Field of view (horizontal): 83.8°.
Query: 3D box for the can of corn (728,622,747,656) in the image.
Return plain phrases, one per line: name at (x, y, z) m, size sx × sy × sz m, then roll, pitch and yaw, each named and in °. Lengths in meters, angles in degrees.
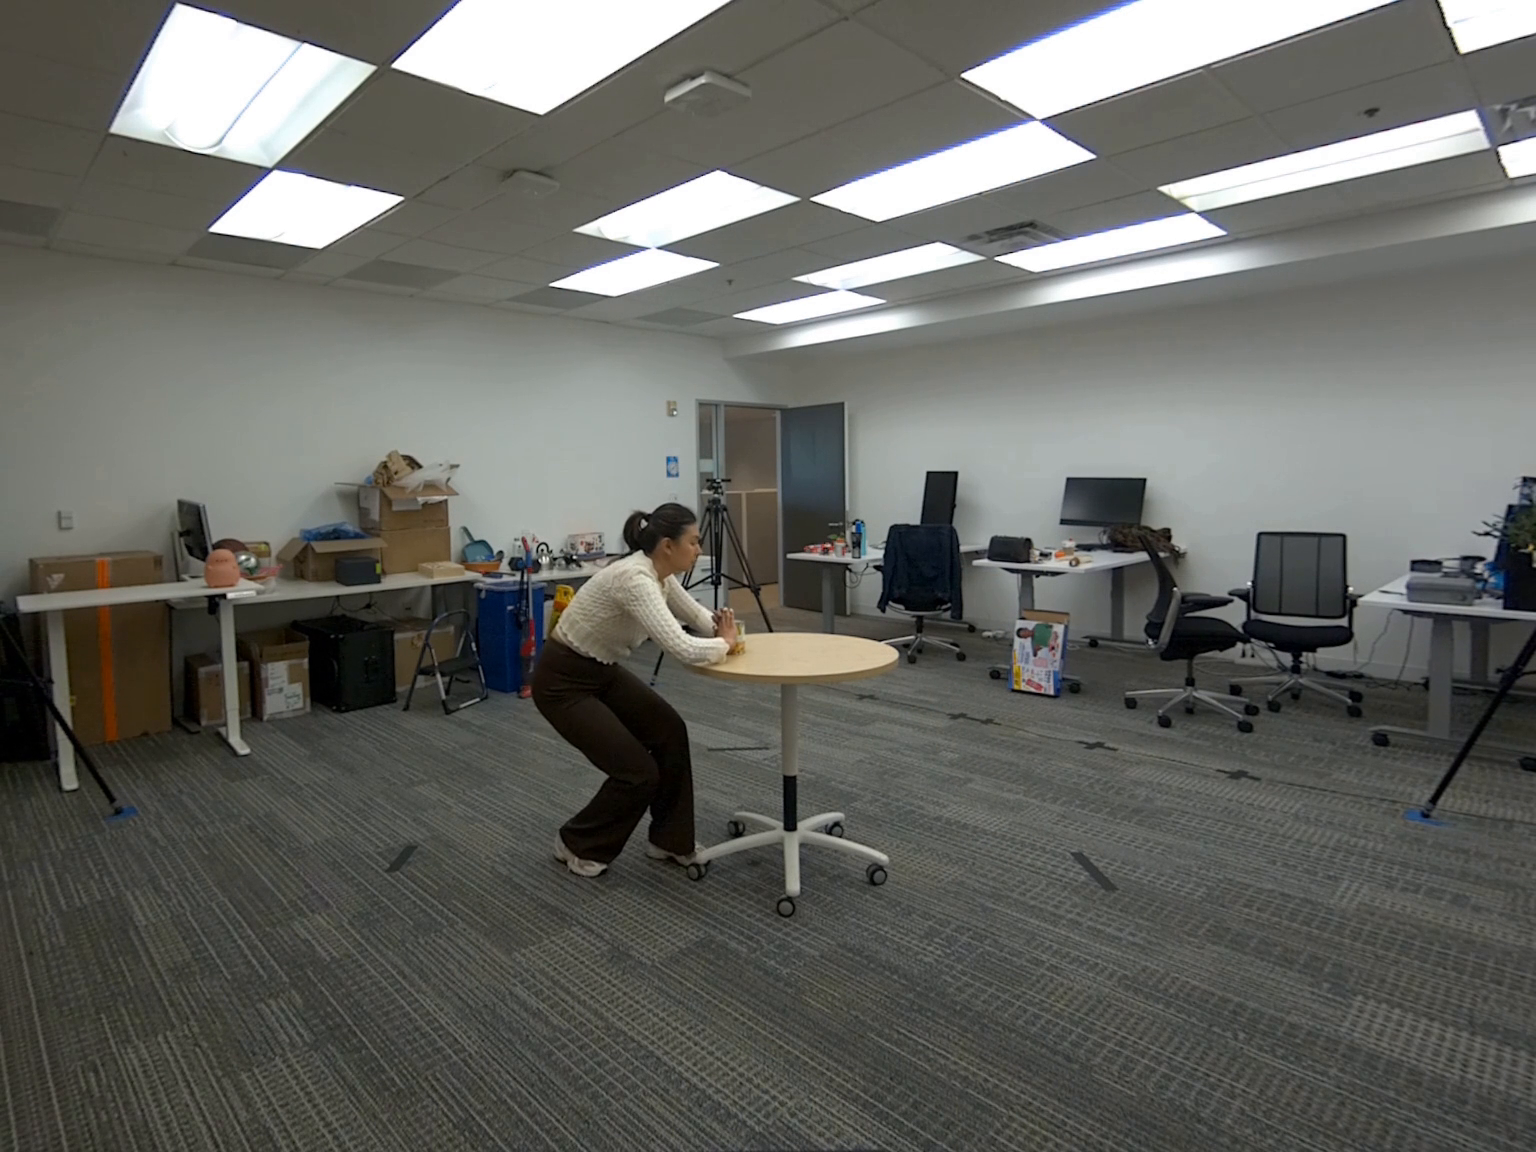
can of corn at (-0.112, 0.211, 3.013) m, size 0.074 × 0.110 × 0.074 m, roll -2°, pitch 6°, yaw -1°
